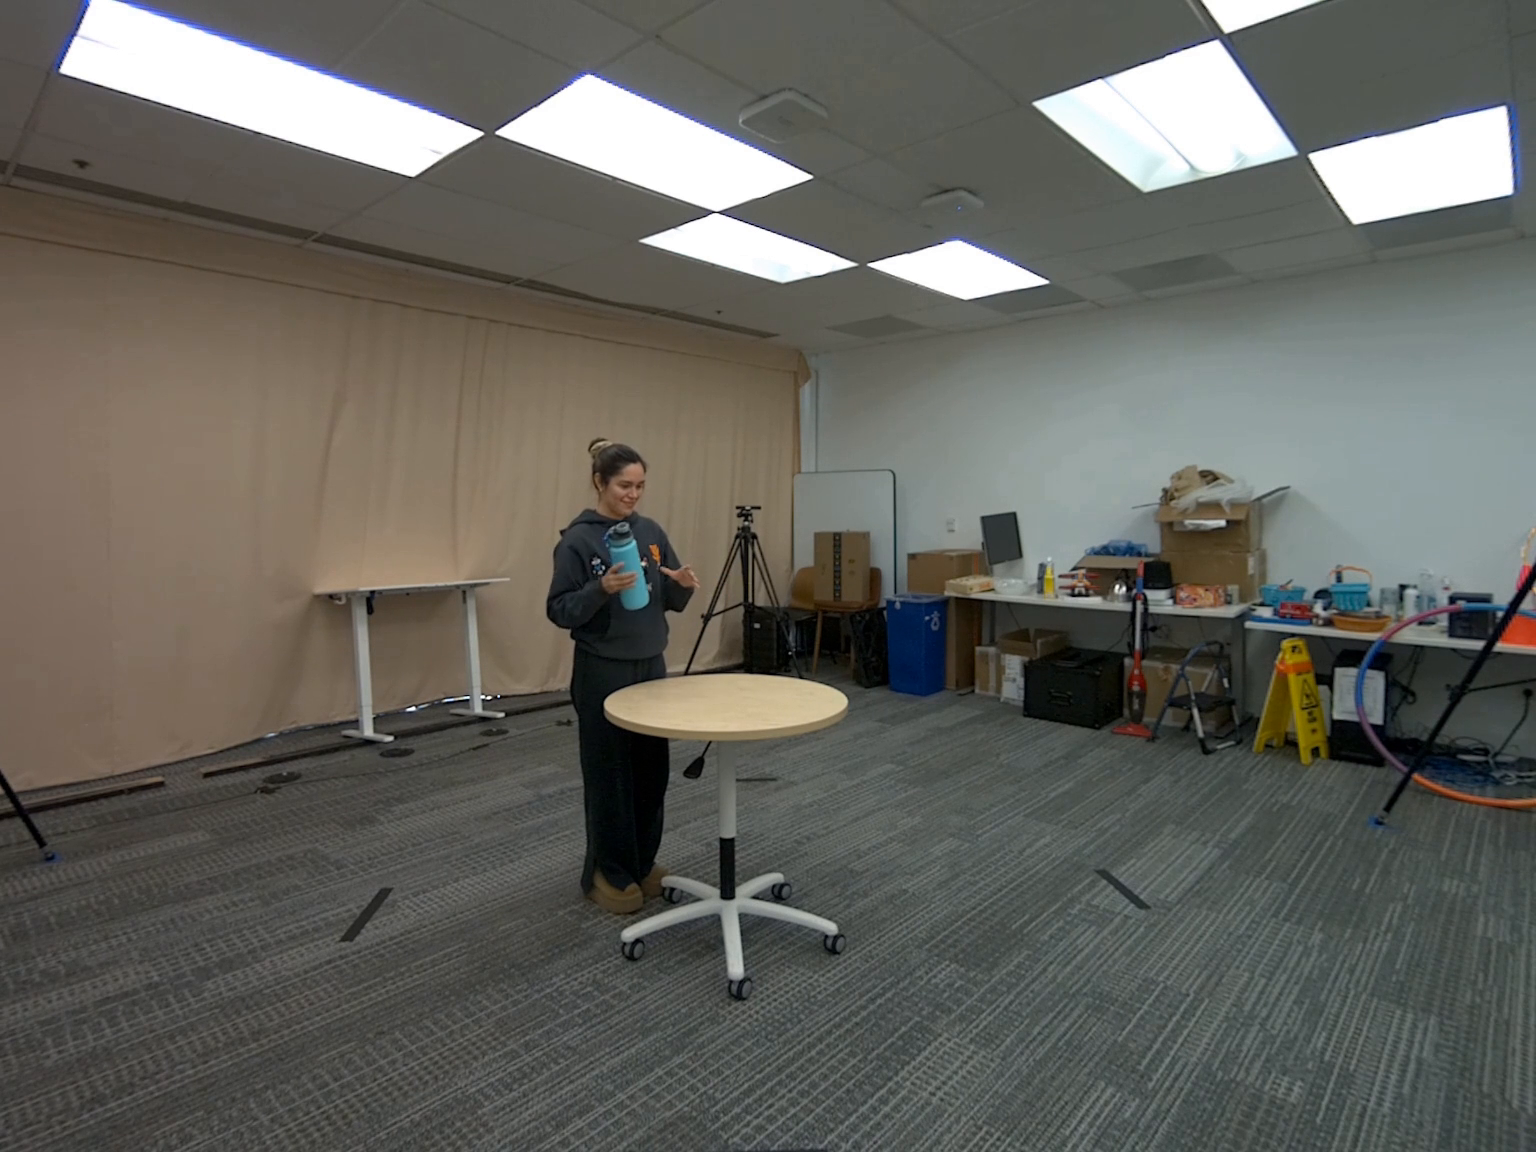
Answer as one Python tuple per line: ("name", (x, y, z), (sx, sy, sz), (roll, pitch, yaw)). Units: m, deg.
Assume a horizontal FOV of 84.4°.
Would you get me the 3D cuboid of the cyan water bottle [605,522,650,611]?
("cyan water bottle", (-0.450, -0.024, 2.710), (0.092, 0.278, 0.094), (-7, 28, 2))
